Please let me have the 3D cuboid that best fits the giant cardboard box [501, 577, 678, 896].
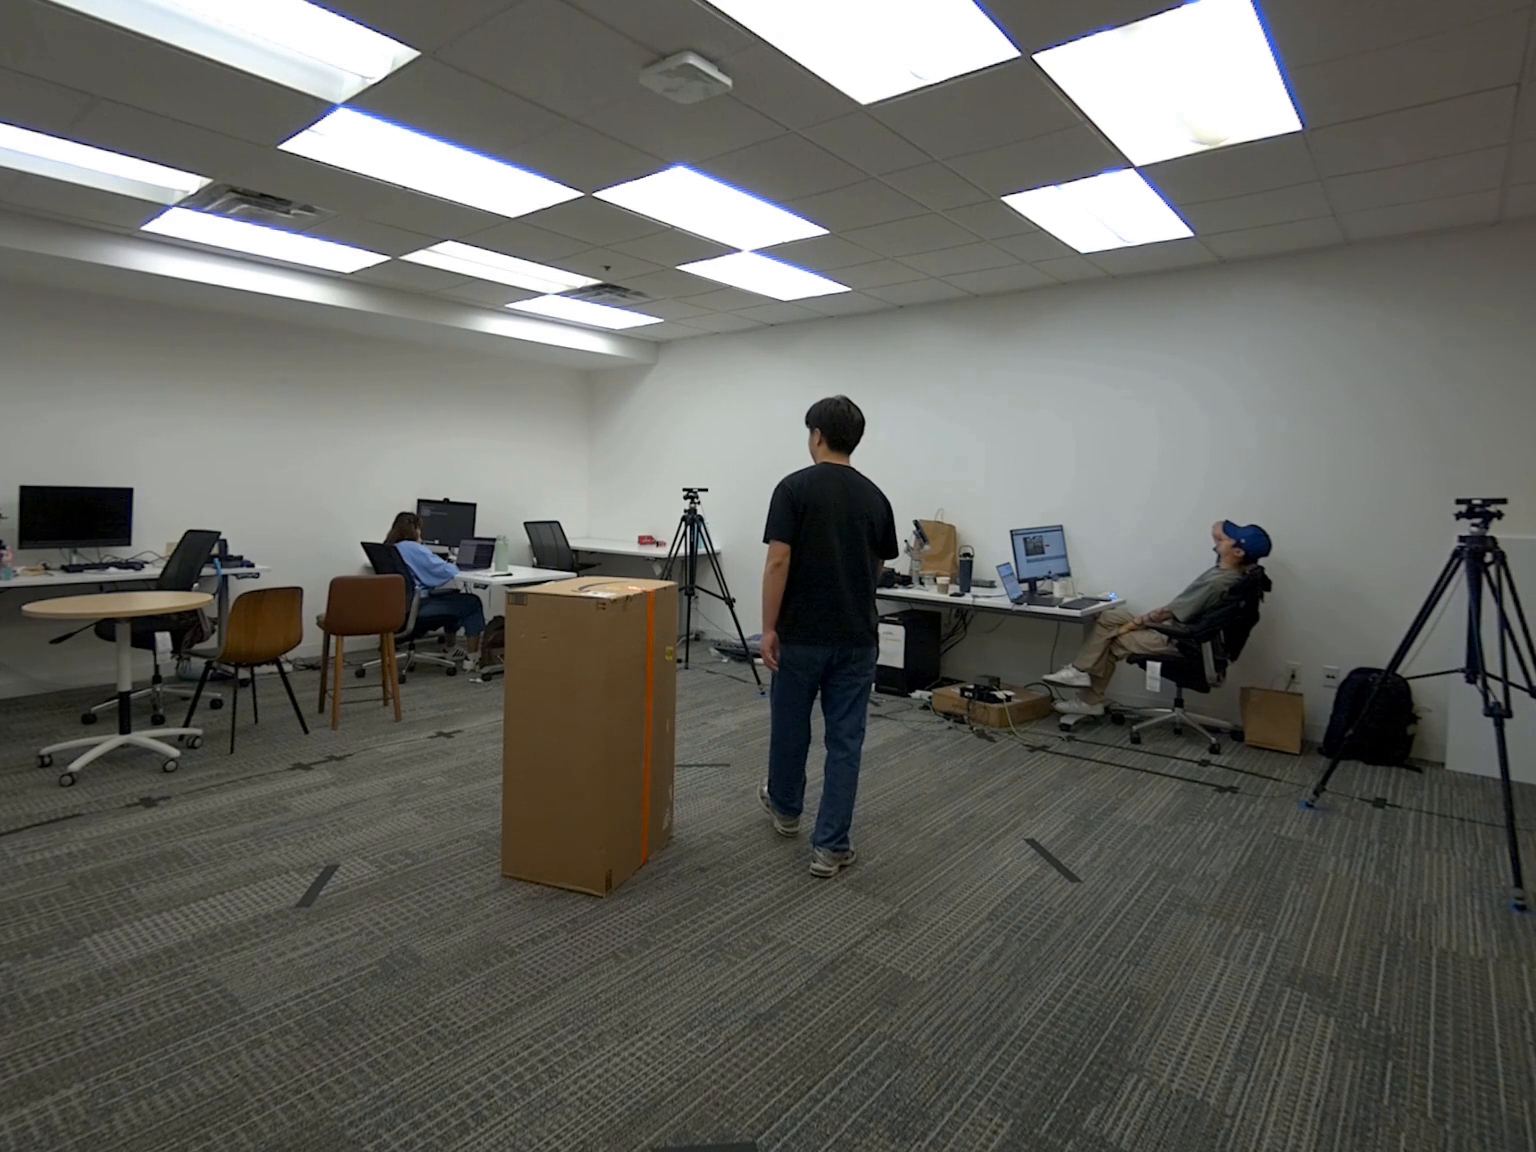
[{"bbox_3d":[-0.660,0.541,3.192,0.457,1.024,0.572,3,3,21],"label":"giant cardboard box"}]
